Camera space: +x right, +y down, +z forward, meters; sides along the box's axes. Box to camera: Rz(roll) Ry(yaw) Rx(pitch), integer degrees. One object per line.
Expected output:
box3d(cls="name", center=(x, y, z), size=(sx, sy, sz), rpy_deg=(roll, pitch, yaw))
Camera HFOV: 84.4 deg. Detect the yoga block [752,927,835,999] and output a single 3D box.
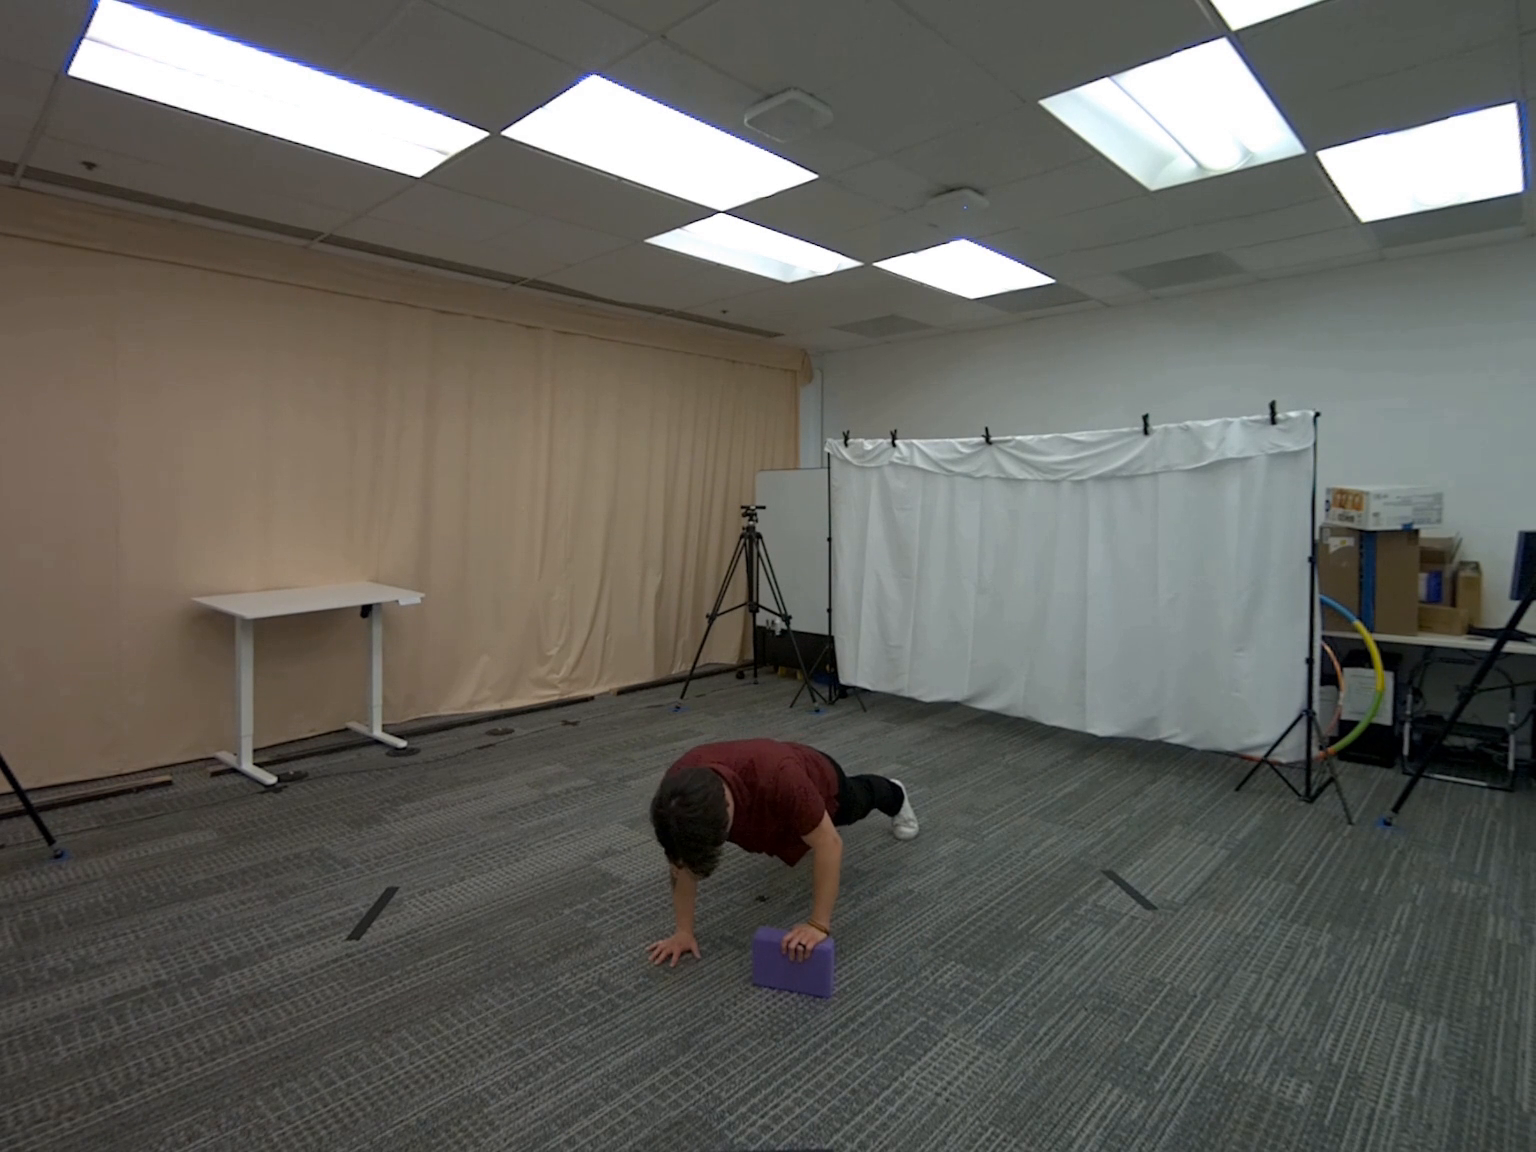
box3d(cls="yoga block", center=(0.074, 1.105, 2.446), size=(0.233, 0.149, 0.075), rpy_deg=(1, 2, 17))
